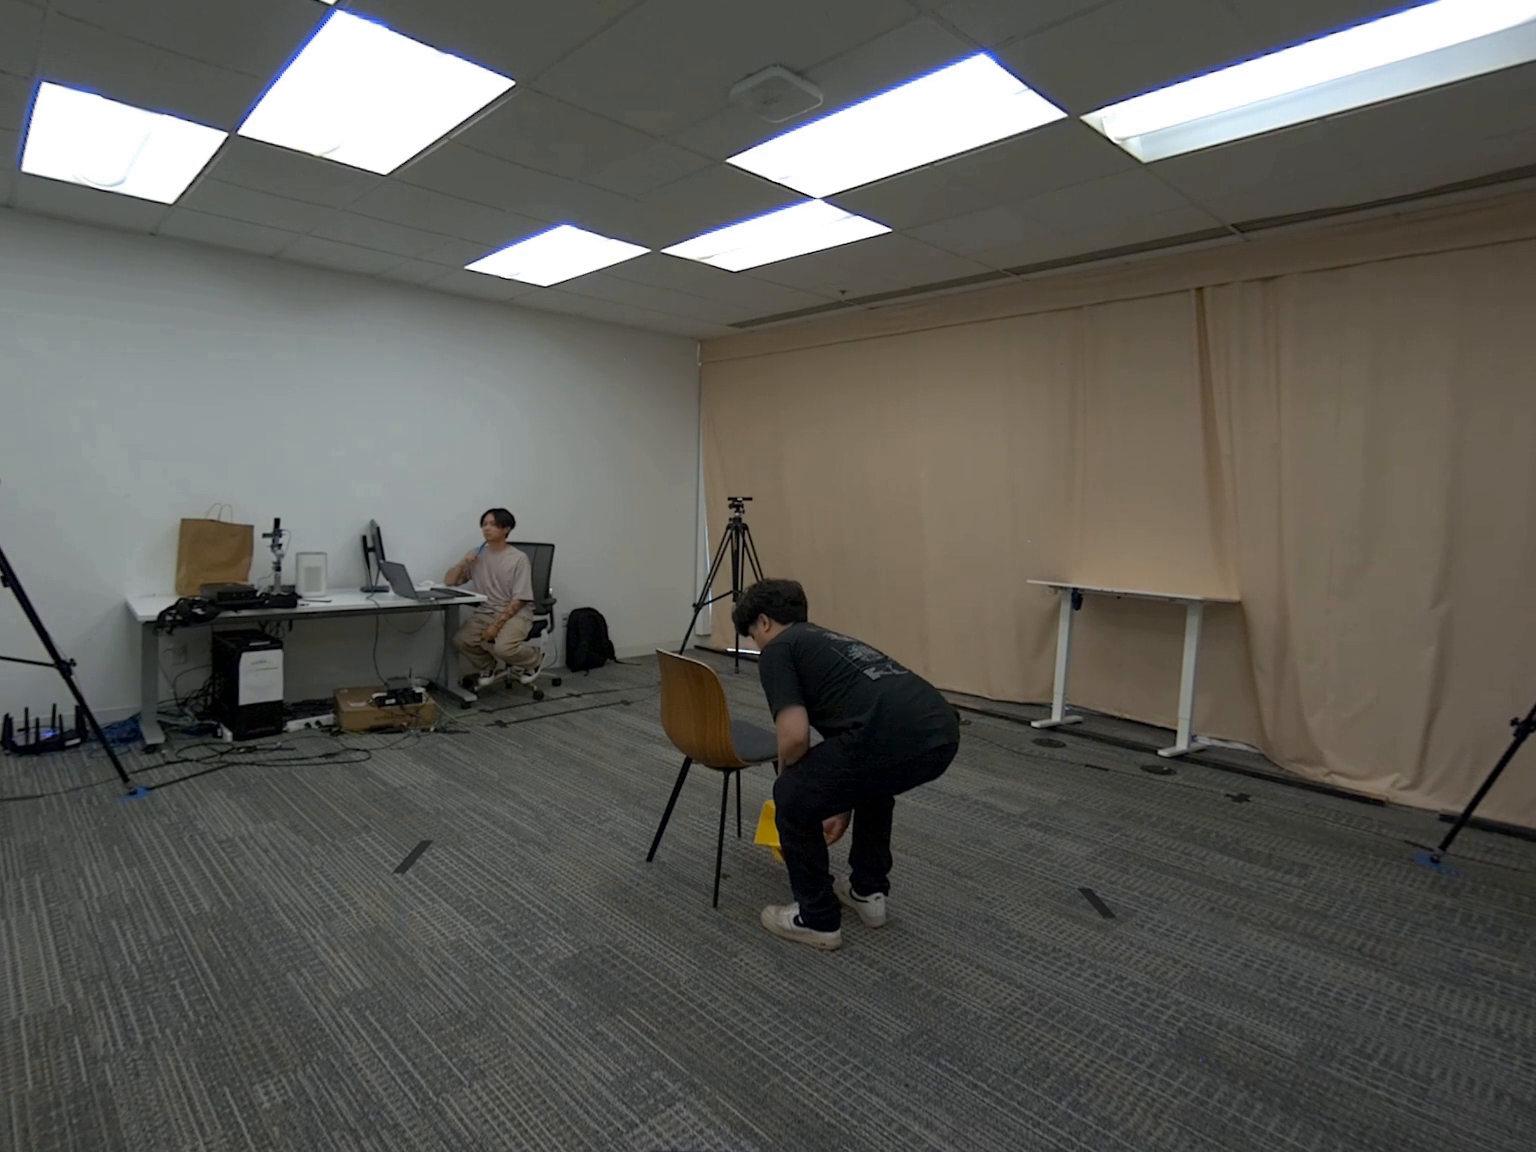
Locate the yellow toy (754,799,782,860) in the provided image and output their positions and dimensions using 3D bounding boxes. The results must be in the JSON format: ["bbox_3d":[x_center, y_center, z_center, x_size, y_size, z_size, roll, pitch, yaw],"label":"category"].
[{"bbox_3d":[0.065,0.850,2.928,0.208,0.228,0.191,-12,15,42],"label":"yellow toy"}]
